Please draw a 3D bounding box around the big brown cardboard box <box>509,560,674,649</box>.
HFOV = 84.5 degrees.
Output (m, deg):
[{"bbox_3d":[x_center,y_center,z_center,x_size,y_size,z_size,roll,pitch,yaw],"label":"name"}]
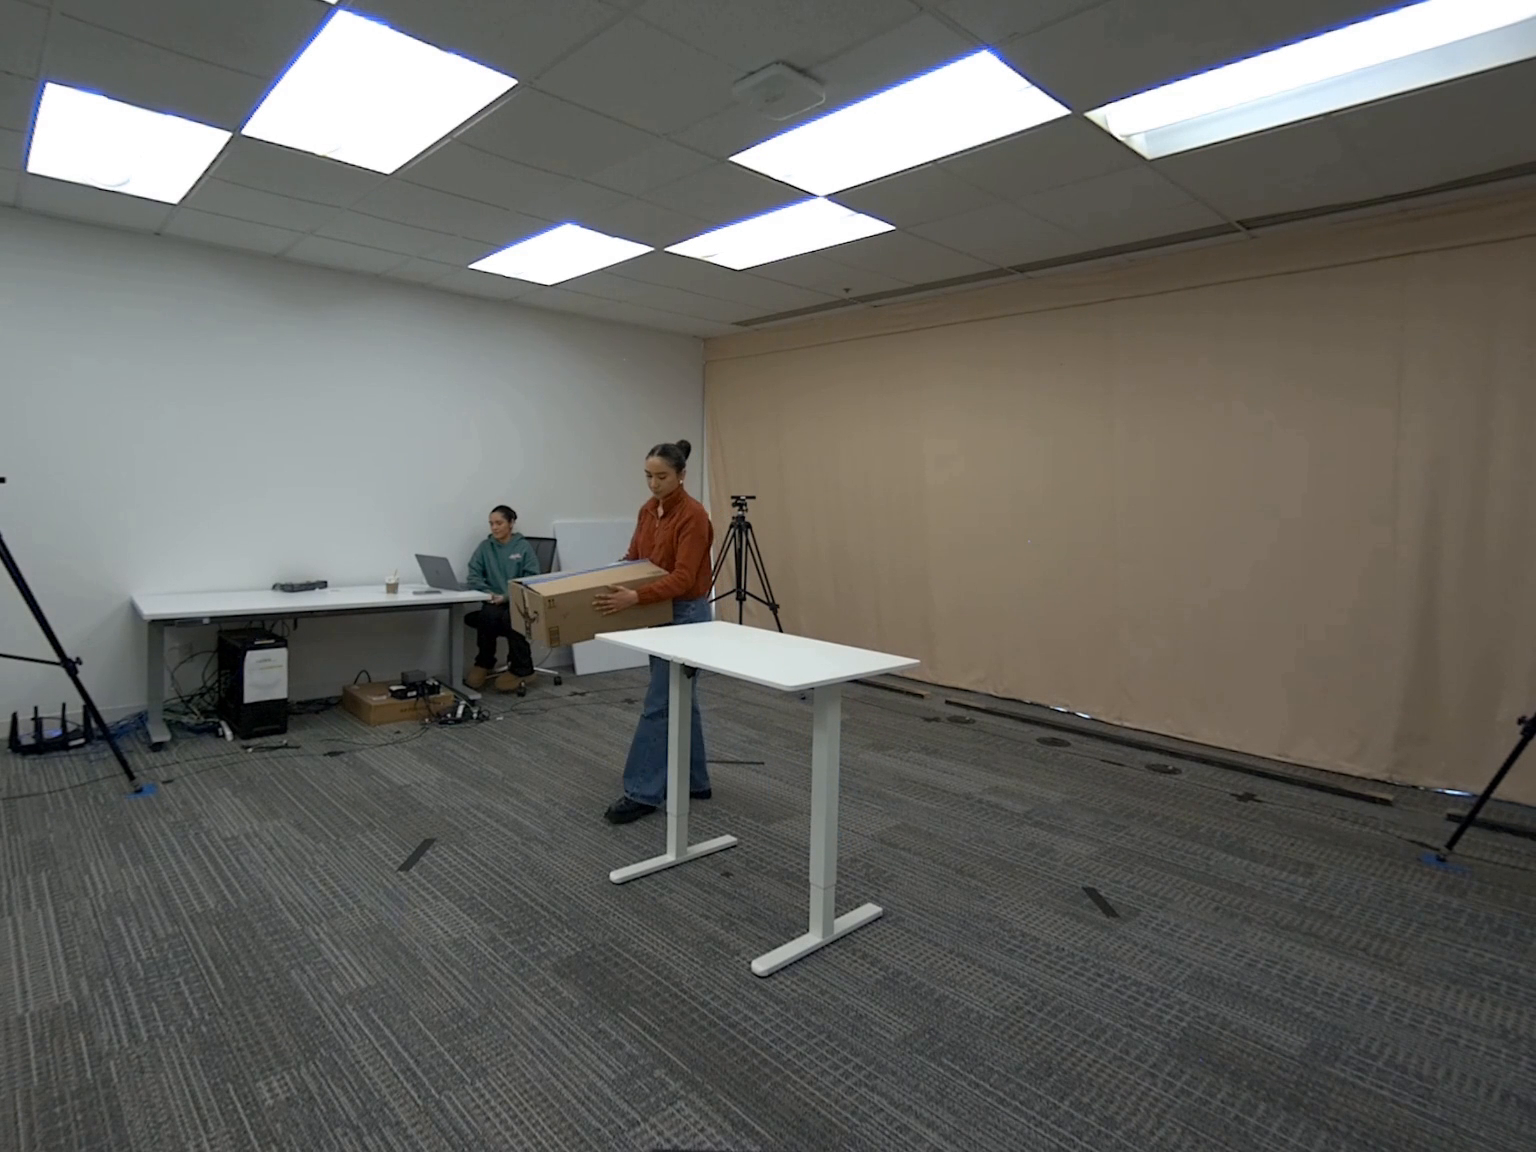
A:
[{"bbox_3d":[-0.763,0.099,3.564,0.578,0.231,0.428,-12,14,-34],"label":"big brown cardboard box"}]
